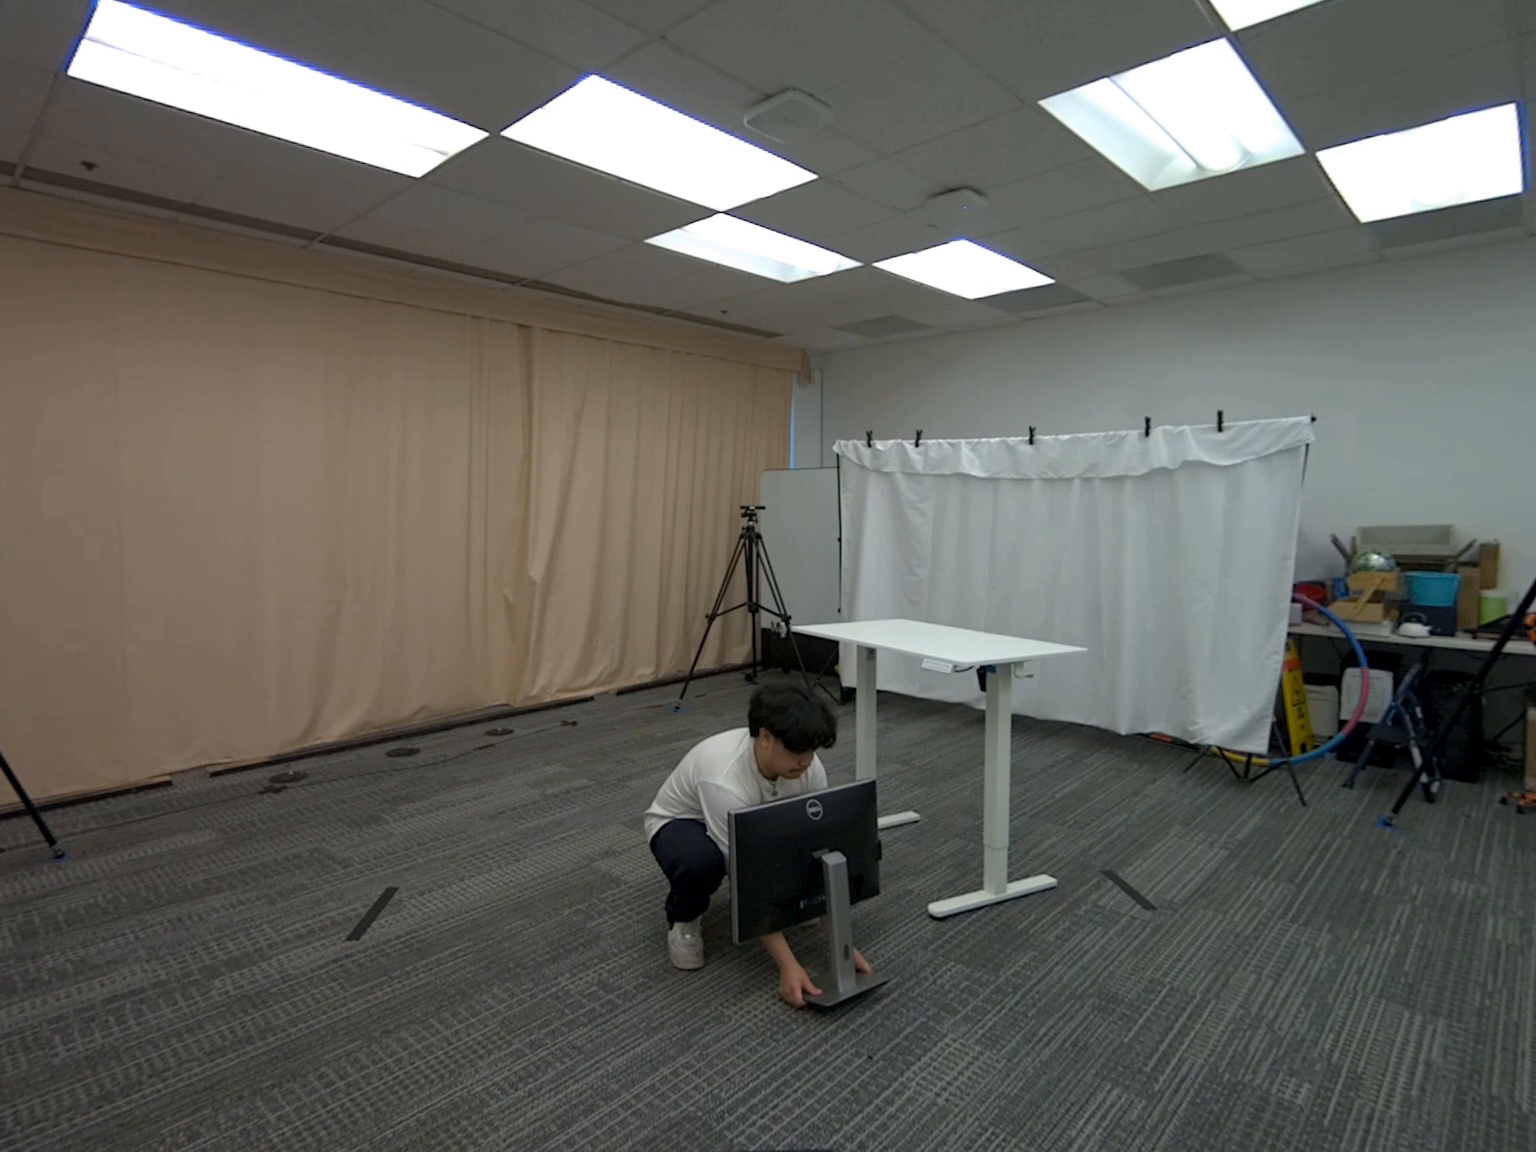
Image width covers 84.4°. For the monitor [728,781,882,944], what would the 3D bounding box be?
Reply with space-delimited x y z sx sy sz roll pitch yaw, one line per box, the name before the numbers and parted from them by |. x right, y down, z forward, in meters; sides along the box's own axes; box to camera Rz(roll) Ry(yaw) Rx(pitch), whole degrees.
monitor | 0.175 0.906 2.409 0.548 0.556 0.216 -1 -7 -37
